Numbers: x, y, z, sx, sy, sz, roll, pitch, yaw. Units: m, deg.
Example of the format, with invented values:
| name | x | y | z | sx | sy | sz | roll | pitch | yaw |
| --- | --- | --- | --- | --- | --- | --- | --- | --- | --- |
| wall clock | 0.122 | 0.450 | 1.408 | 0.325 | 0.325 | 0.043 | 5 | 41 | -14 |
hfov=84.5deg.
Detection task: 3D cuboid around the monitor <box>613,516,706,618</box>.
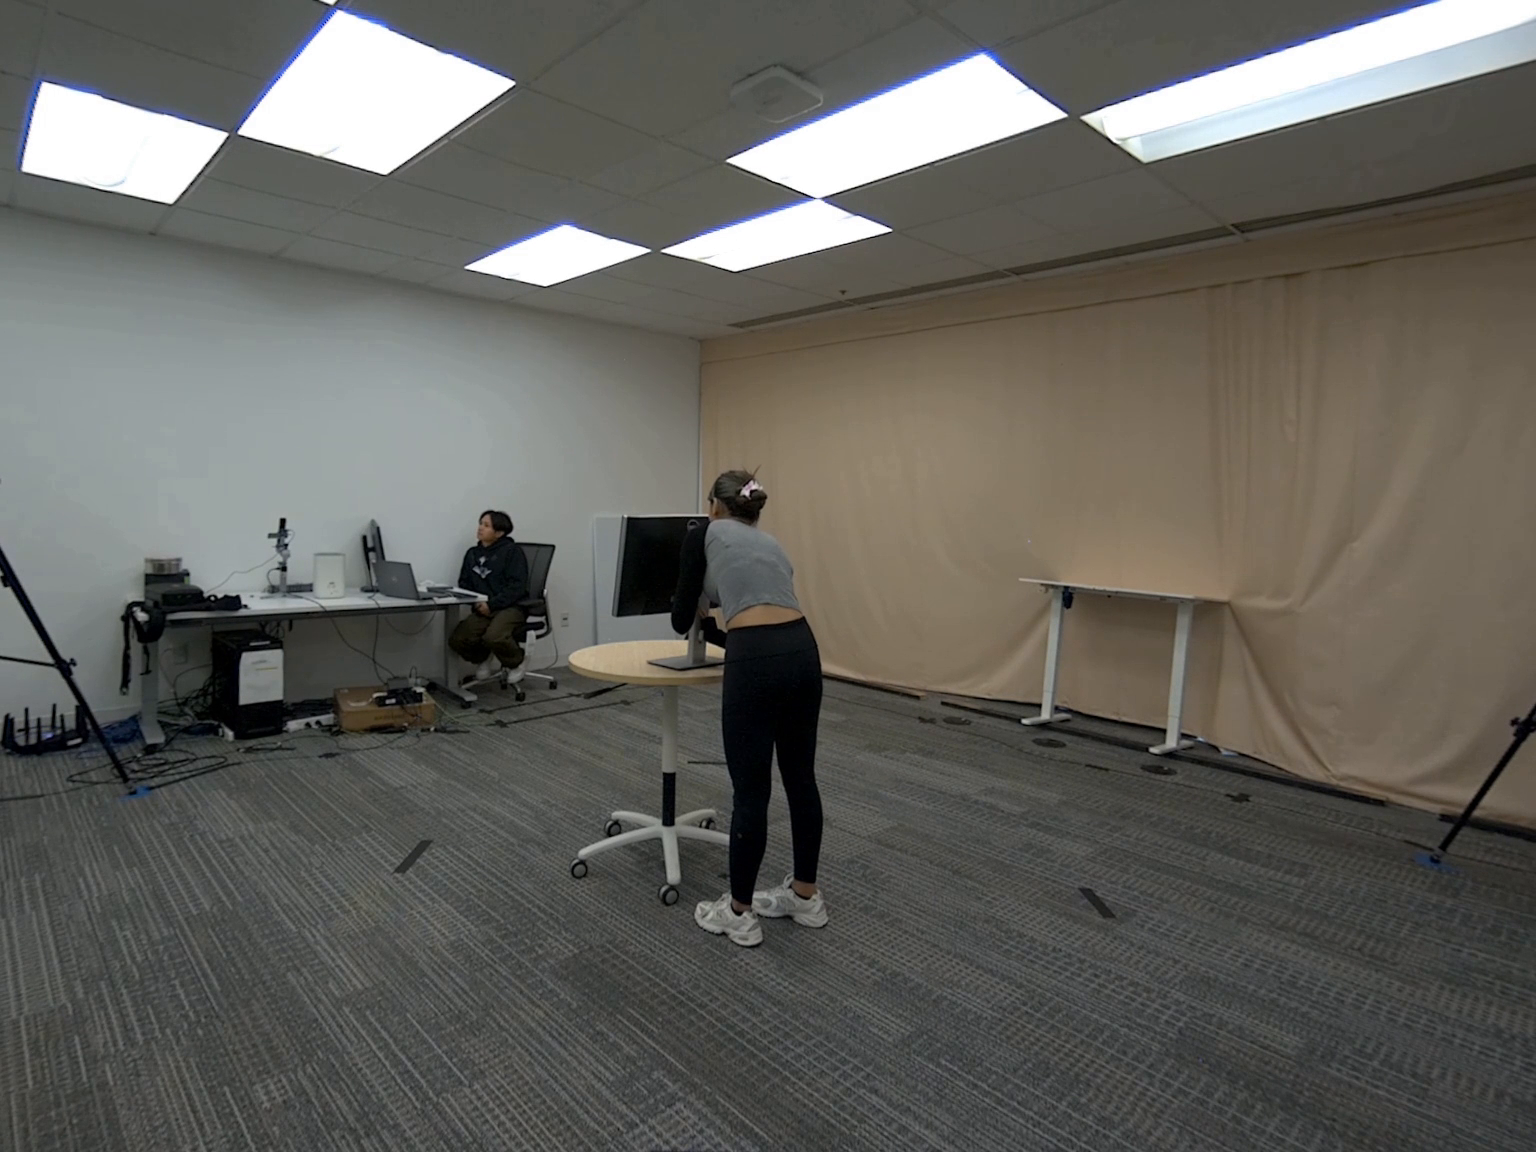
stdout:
| name | x | y | z | sx | sy | sz | roll | pitch | yaw |
| --- | --- | --- | --- | --- | --- | --- | --- | --- | --- |
| monitor | -0.290 | 0.054 | 3.045 | 0.527 | 0.522 | 0.192 | -2 | 3 | -43 |
